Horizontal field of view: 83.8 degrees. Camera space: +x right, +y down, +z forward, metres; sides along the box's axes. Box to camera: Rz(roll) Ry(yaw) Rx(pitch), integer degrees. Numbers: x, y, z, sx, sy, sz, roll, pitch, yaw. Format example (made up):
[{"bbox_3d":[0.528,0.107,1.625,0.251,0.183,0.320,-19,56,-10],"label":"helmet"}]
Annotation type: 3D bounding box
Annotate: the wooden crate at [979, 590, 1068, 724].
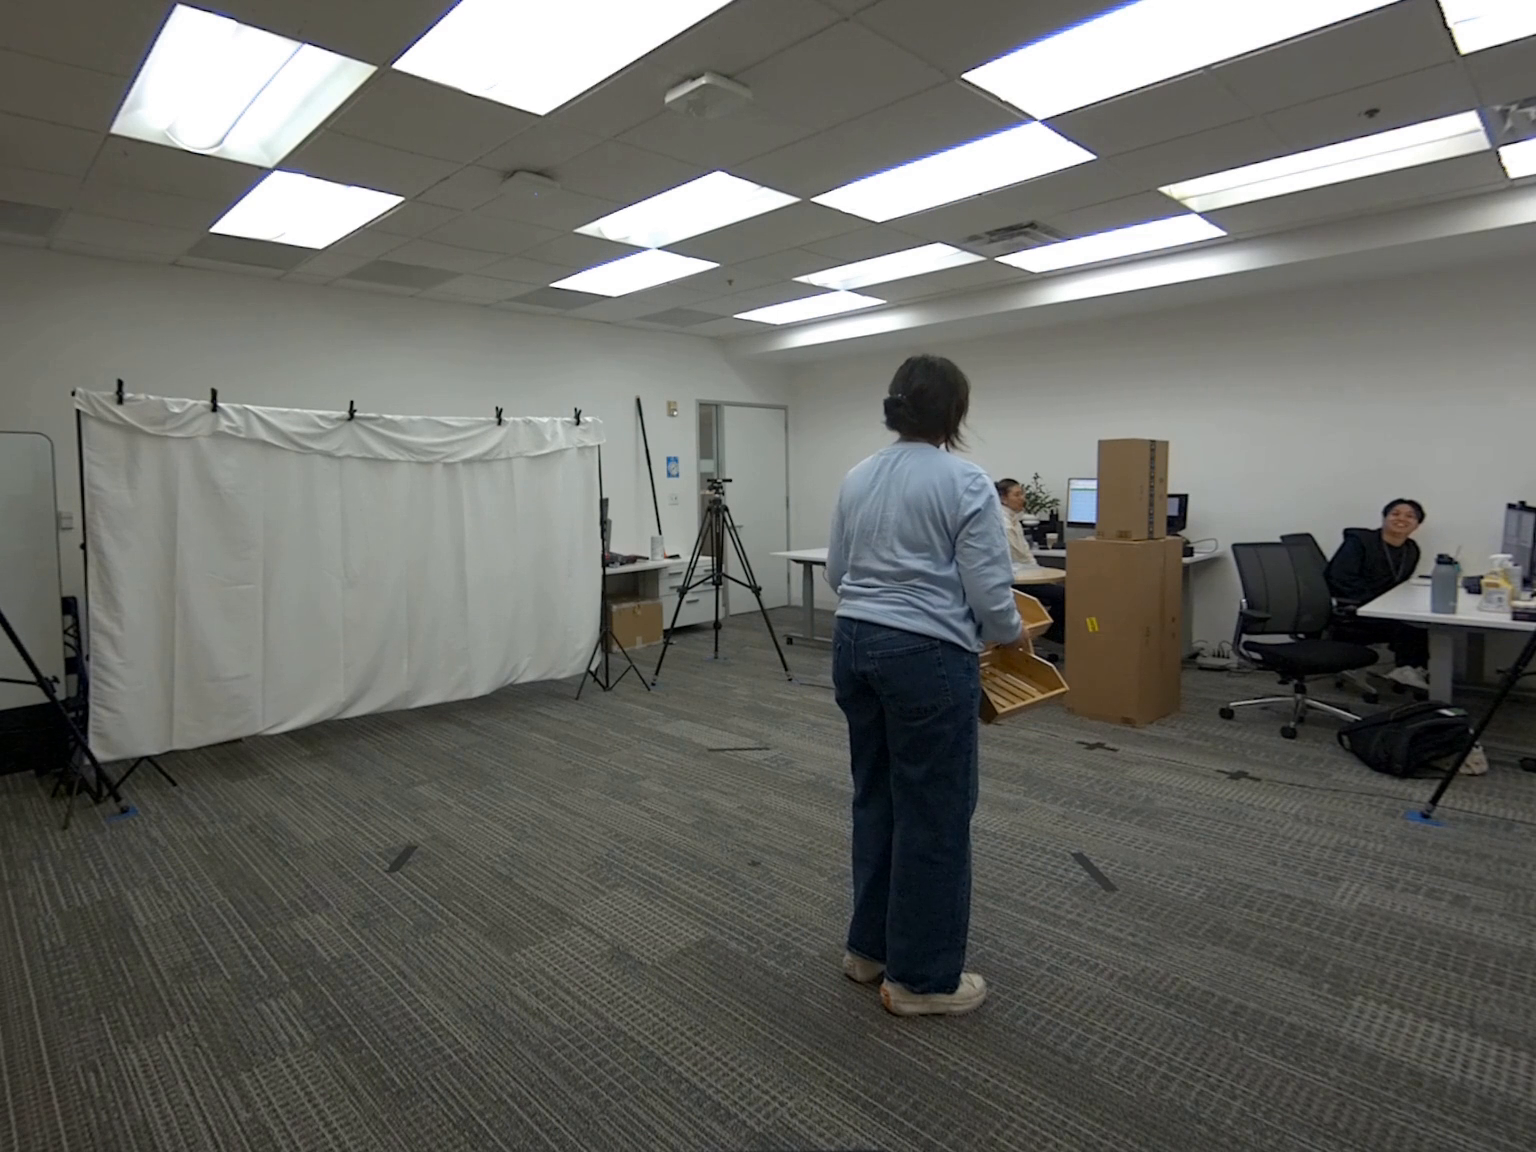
[{"bbox_3d":[0.673,0.211,2.424,0.317,0.269,0.313,-9,22,-34],"label":"wooden crate"}]
